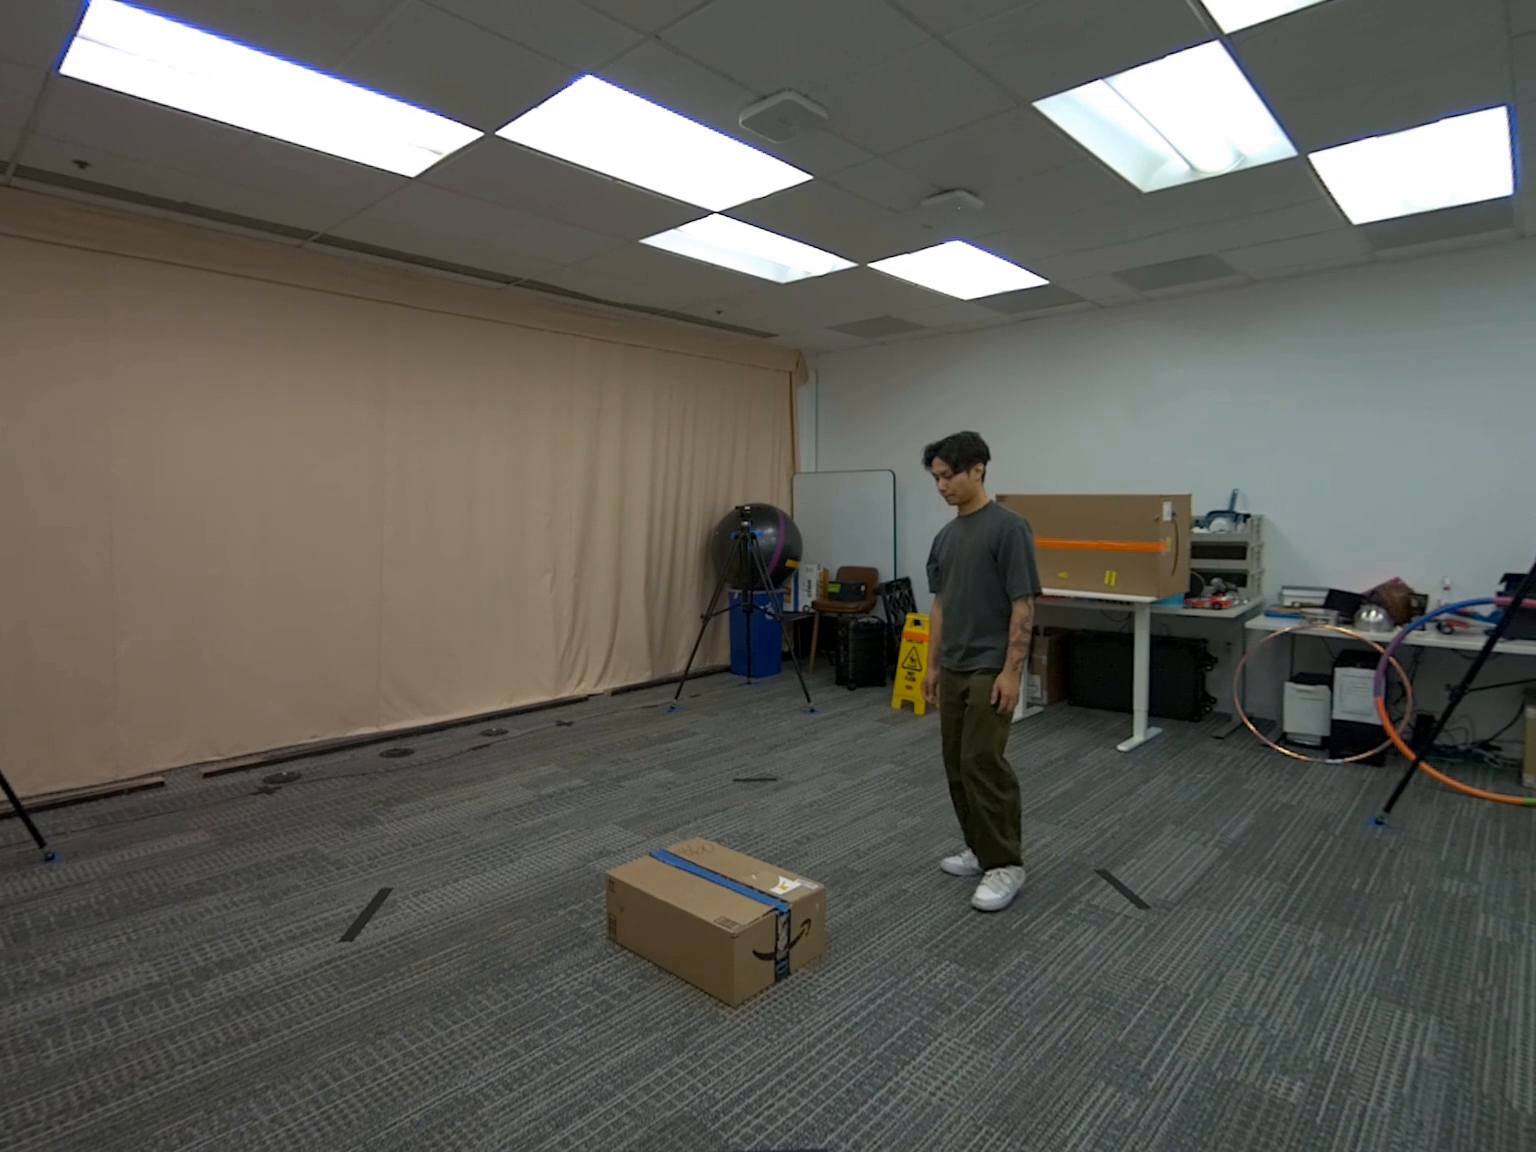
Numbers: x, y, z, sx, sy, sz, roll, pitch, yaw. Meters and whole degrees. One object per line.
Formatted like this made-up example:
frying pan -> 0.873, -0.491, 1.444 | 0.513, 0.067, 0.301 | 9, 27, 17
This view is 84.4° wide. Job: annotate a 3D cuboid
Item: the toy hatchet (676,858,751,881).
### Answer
toy hatchet -> -0.214, 1.123, 3.248 | 0.268, 0.029, 0.132 | 1, 1, -8
